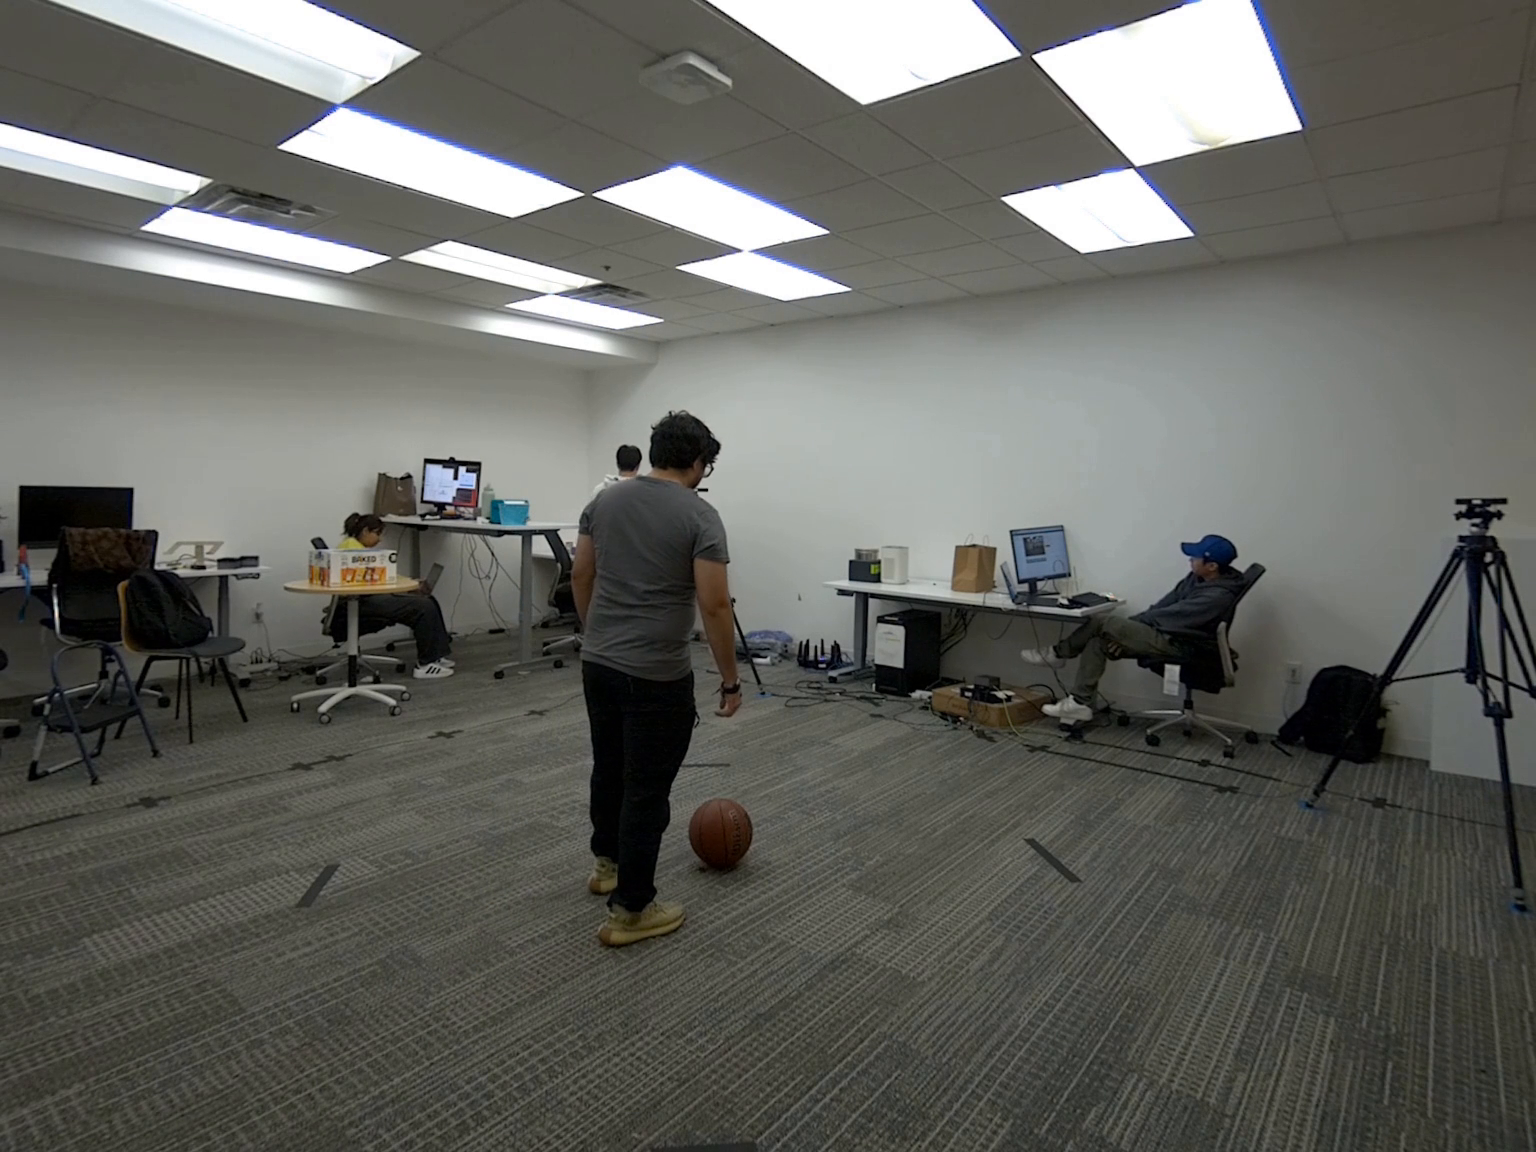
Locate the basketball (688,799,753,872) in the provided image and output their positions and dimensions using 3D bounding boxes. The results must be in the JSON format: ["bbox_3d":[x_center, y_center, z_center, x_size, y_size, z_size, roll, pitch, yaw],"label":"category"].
[{"bbox_3d":[-0.183,0.943,3.152,0.235,0.235,0.237,1,4,-2],"label":"basketball"}]
